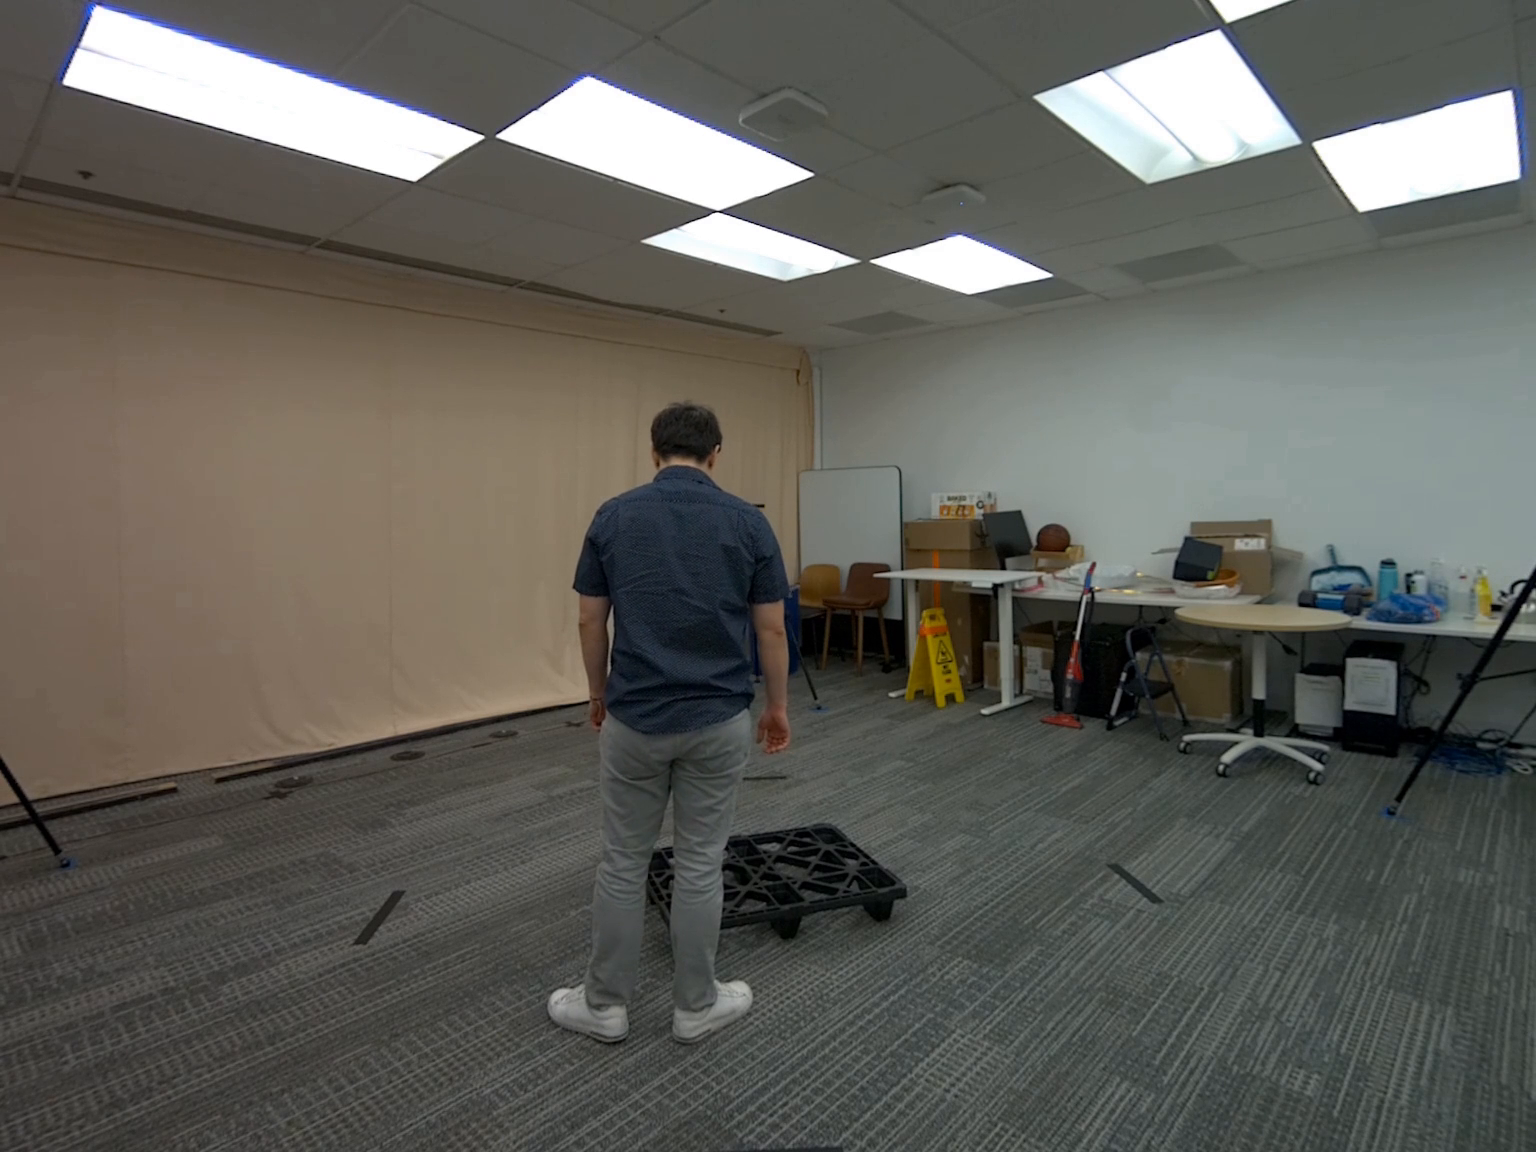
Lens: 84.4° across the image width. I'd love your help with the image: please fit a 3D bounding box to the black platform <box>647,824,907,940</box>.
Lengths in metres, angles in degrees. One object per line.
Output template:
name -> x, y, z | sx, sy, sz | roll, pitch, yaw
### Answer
black platform -> -0.016, 1.076, 2.919 | 0.790, 0.143, 0.618 | -2, 5, -19
